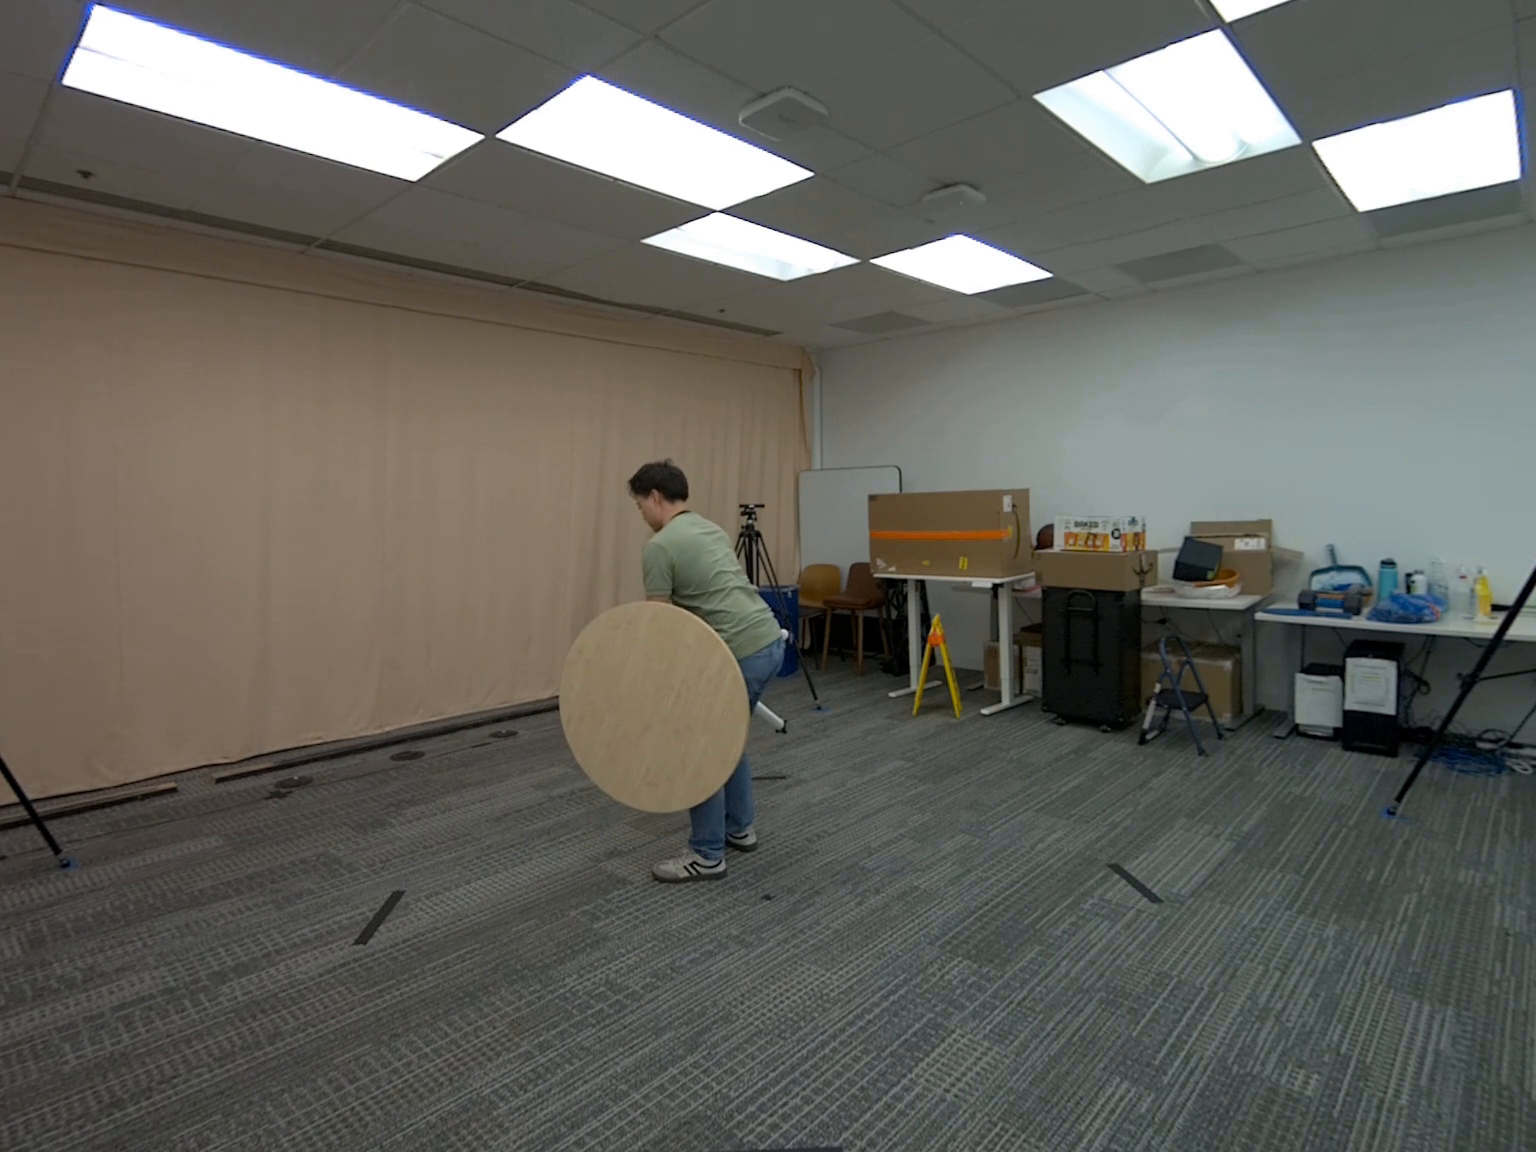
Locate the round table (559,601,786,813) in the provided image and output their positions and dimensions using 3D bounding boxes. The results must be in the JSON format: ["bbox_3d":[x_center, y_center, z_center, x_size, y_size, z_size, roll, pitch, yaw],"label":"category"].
[{"bbox_3d":[-0.306,0.461,3.419,0.781,0.763,0.777,1,3,21],"label":"round table"}]
